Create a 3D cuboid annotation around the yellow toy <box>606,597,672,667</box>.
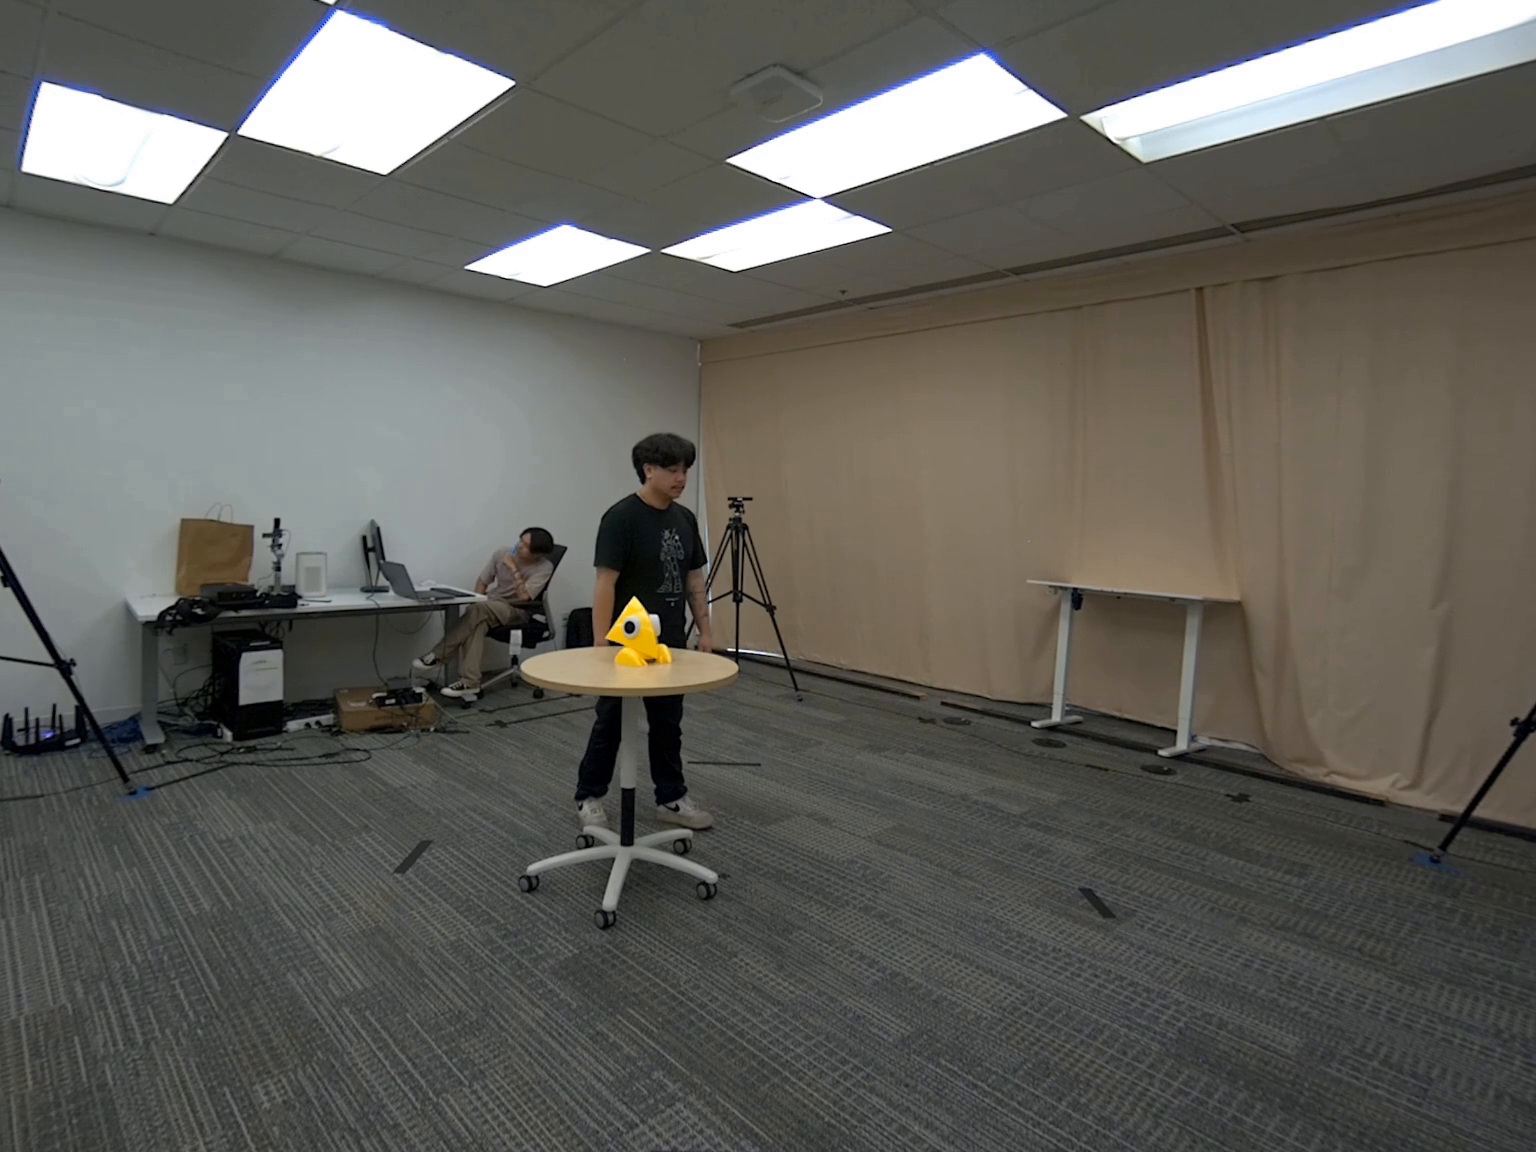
[{"bbox_3d":[-0.471,0.196,3.068,0.200,0.230,0.198,-2,5,-42],"label":"yellow toy"}]
